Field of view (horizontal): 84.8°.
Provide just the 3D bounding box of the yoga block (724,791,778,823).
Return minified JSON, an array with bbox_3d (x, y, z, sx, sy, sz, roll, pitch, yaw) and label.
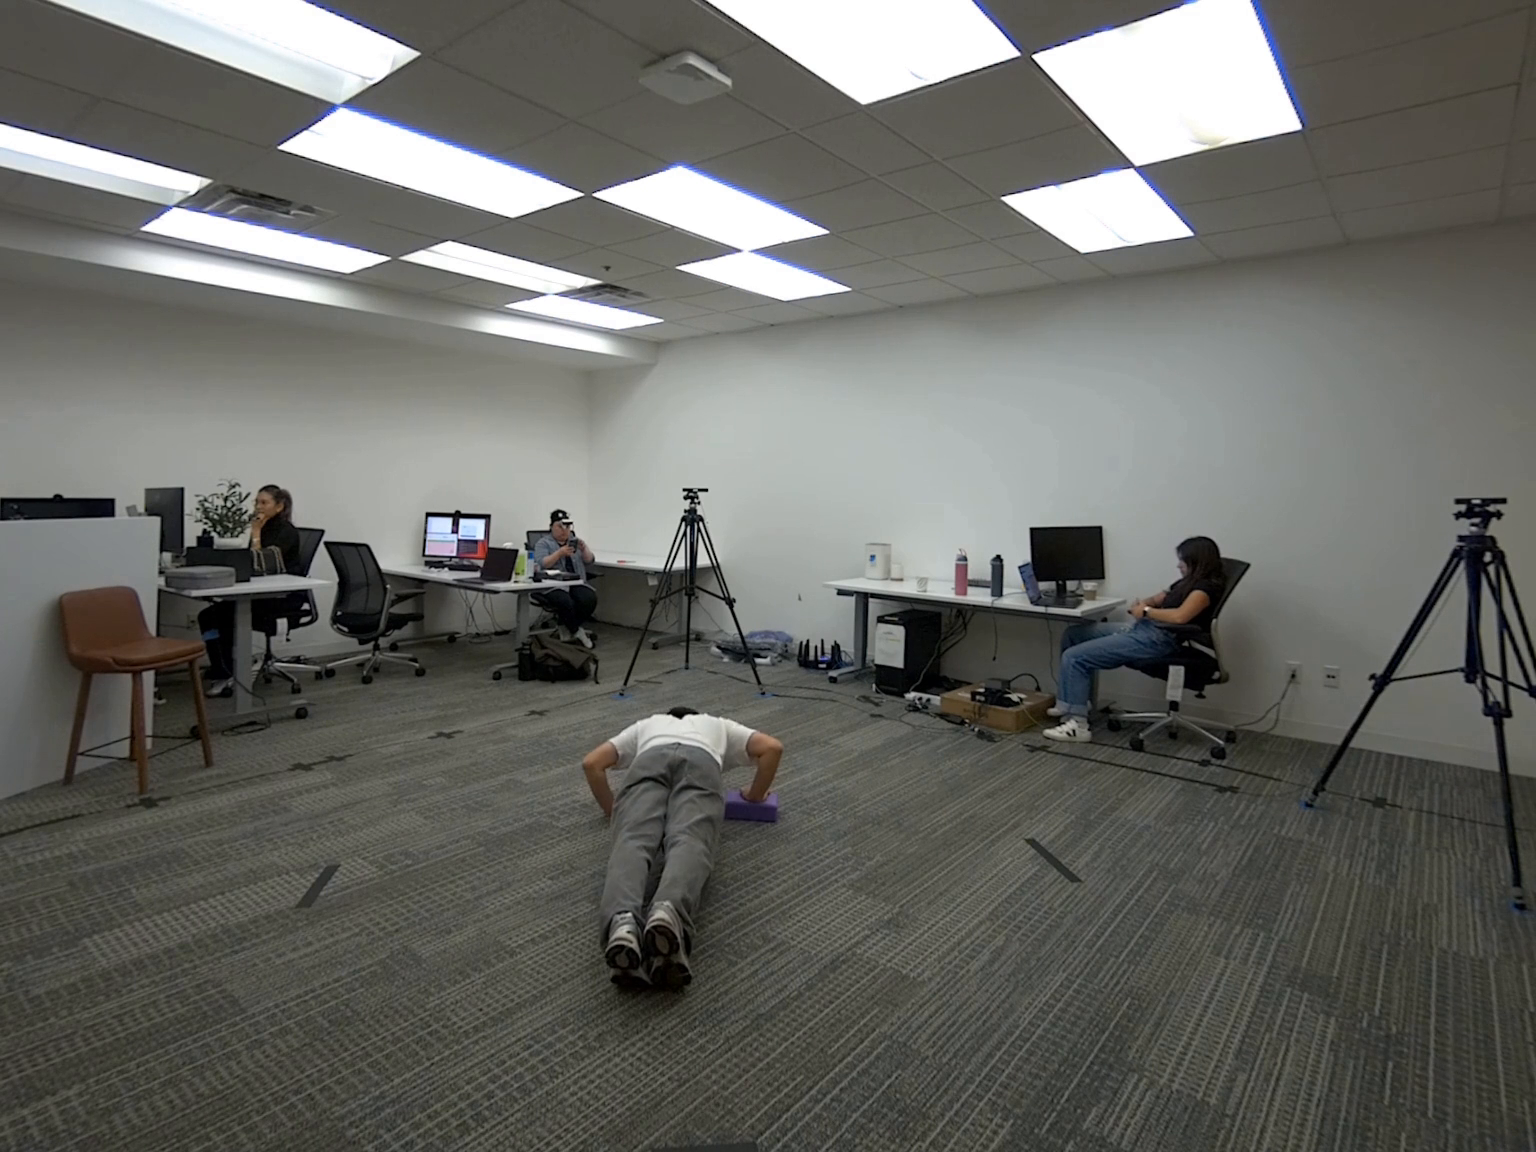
[{"bbox_3d":[-0.070,0.984,3.651,0.231,0.076,0.148,0,7,8],"label":"yoga block"}]
